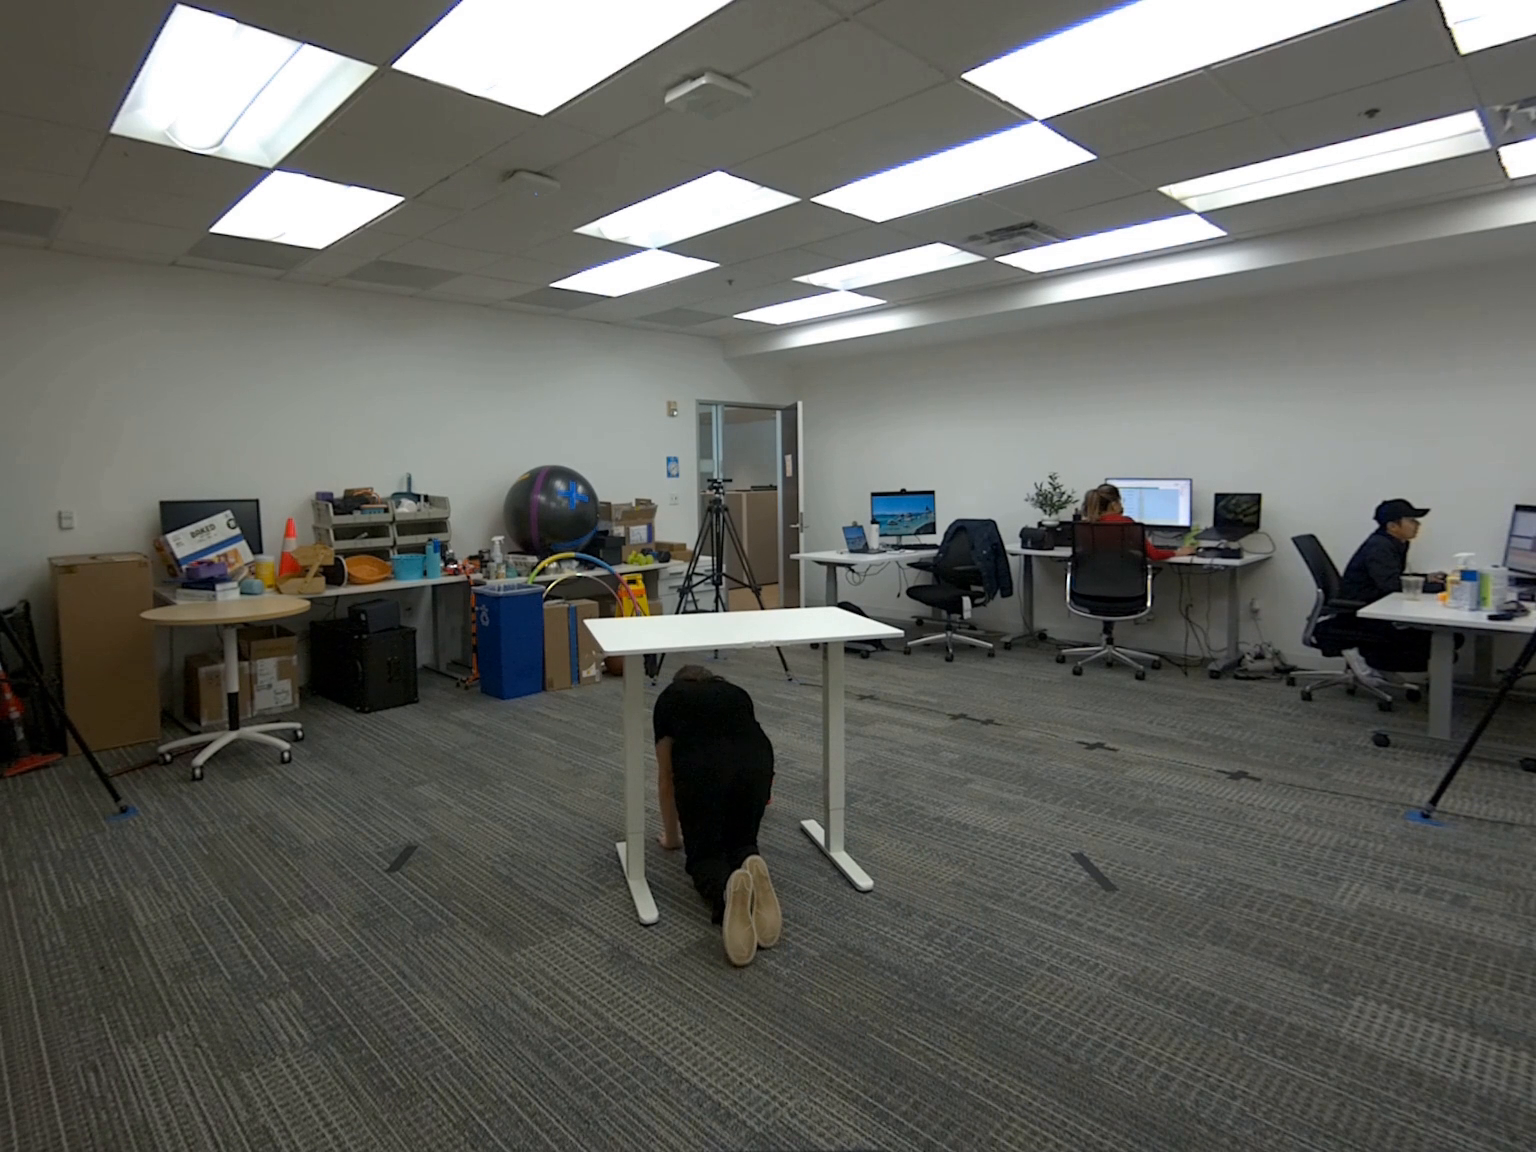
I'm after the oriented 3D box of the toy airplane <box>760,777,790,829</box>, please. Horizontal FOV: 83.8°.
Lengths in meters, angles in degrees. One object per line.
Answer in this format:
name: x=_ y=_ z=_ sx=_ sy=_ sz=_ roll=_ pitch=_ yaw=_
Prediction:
toy airplane: x=-0.089 y=0.917 z=3.519 sx=0.246 sy=0.156 sz=0.265 roll=-3 pitch=2 yaw=-26
